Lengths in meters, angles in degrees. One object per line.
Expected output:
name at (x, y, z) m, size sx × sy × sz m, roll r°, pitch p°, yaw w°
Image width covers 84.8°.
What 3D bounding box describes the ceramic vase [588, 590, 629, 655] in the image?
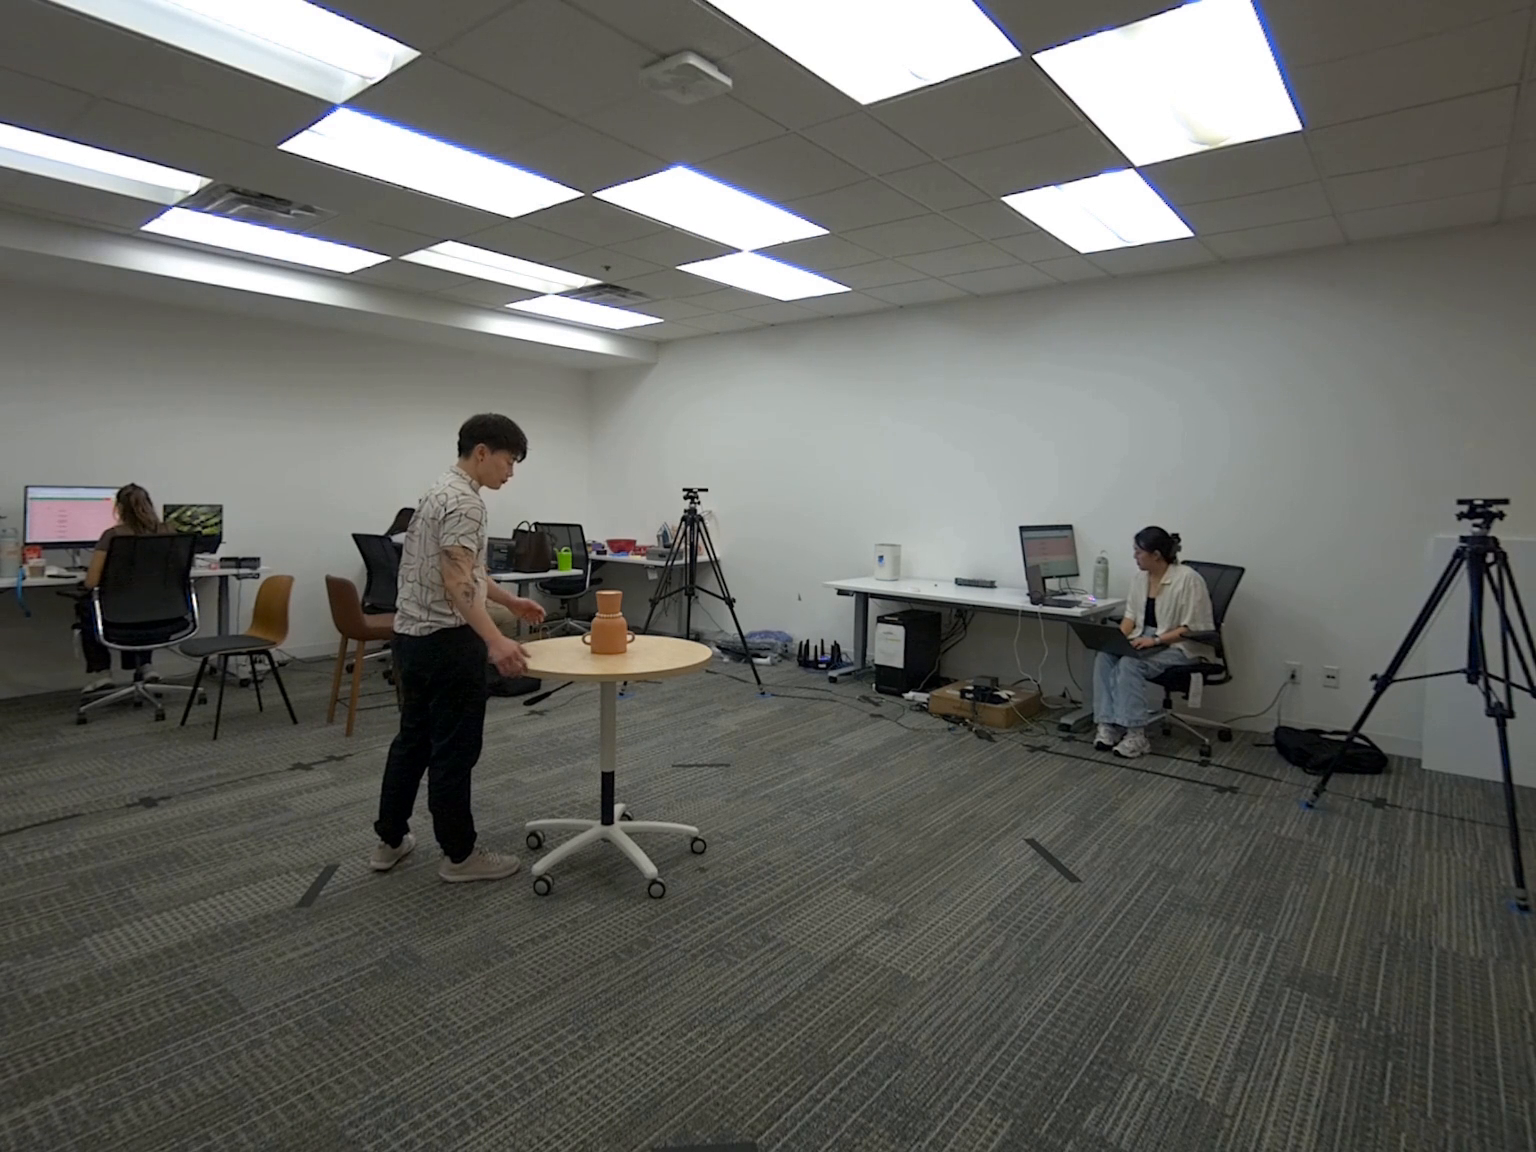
ceramic vase at (-0.608, 0.171, 3.143) m, size 0.138 × 0.219 × 0.155 m, roll 2°, pitch 5°, yaw 30°
